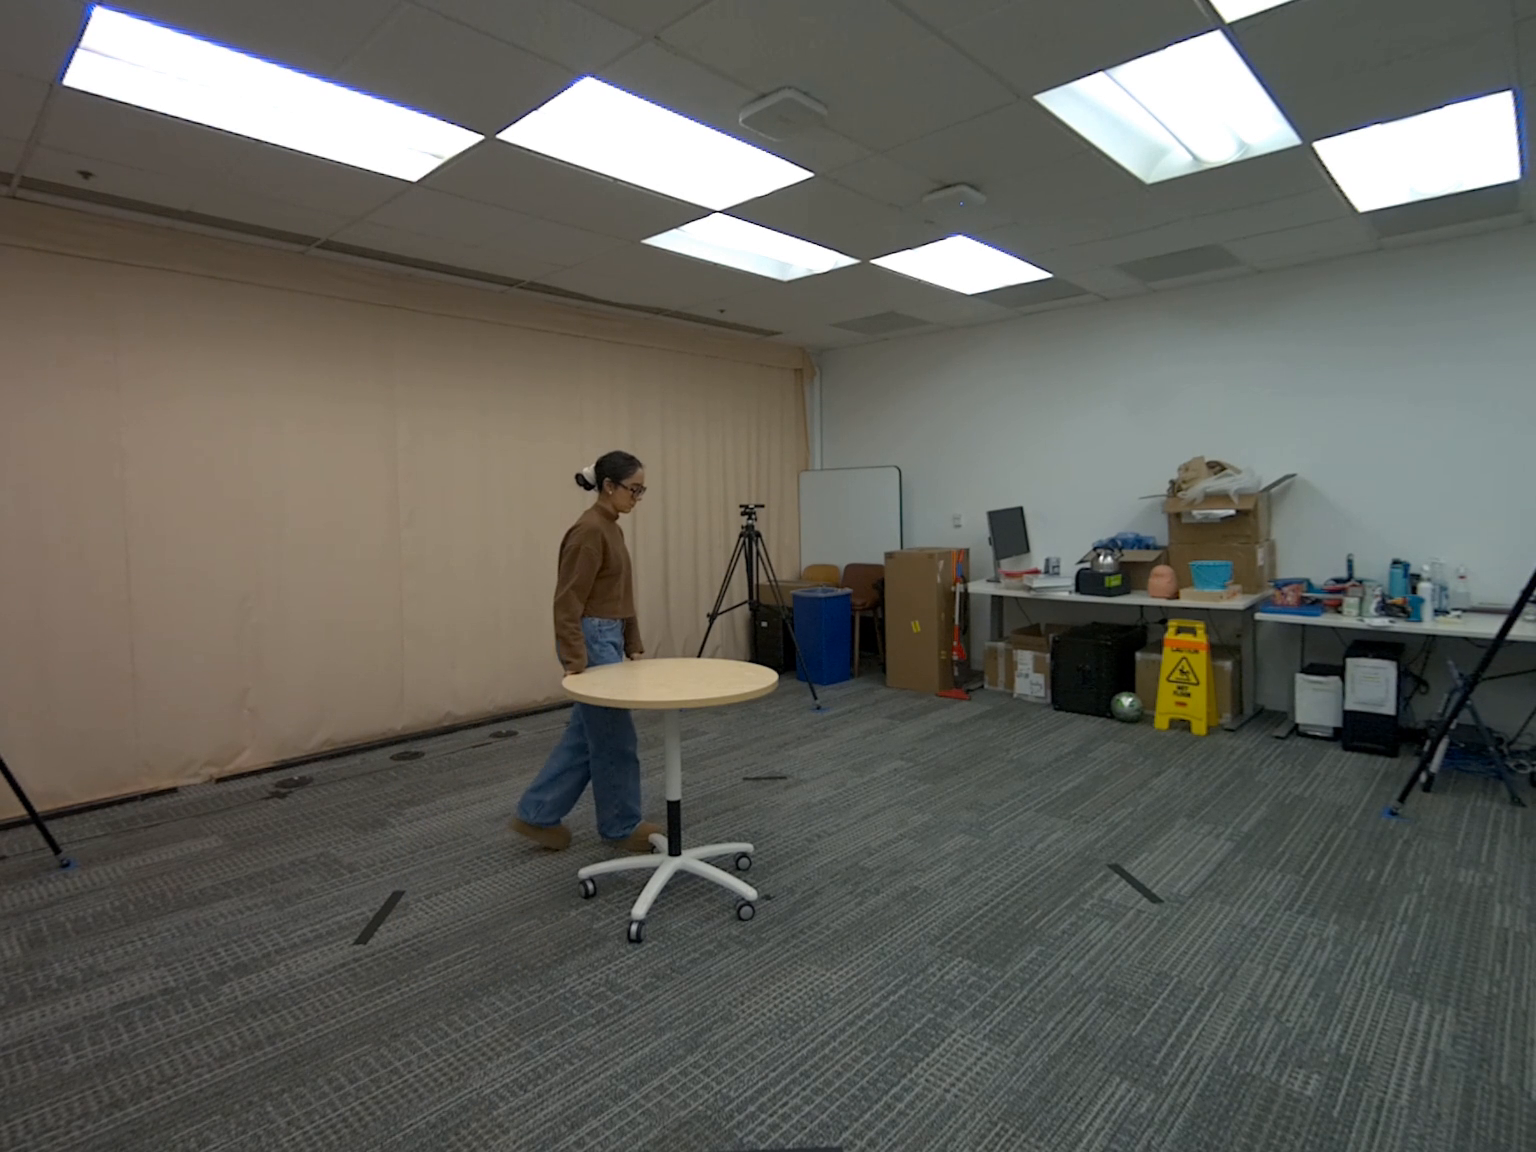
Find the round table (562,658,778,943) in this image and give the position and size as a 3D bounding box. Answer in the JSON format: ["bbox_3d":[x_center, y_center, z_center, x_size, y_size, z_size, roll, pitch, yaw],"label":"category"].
[{"bbox_3d":[-0.331,0.753,3.019,0.763,0.792,0.766,-1,3,-2],"label":"round table"}]
